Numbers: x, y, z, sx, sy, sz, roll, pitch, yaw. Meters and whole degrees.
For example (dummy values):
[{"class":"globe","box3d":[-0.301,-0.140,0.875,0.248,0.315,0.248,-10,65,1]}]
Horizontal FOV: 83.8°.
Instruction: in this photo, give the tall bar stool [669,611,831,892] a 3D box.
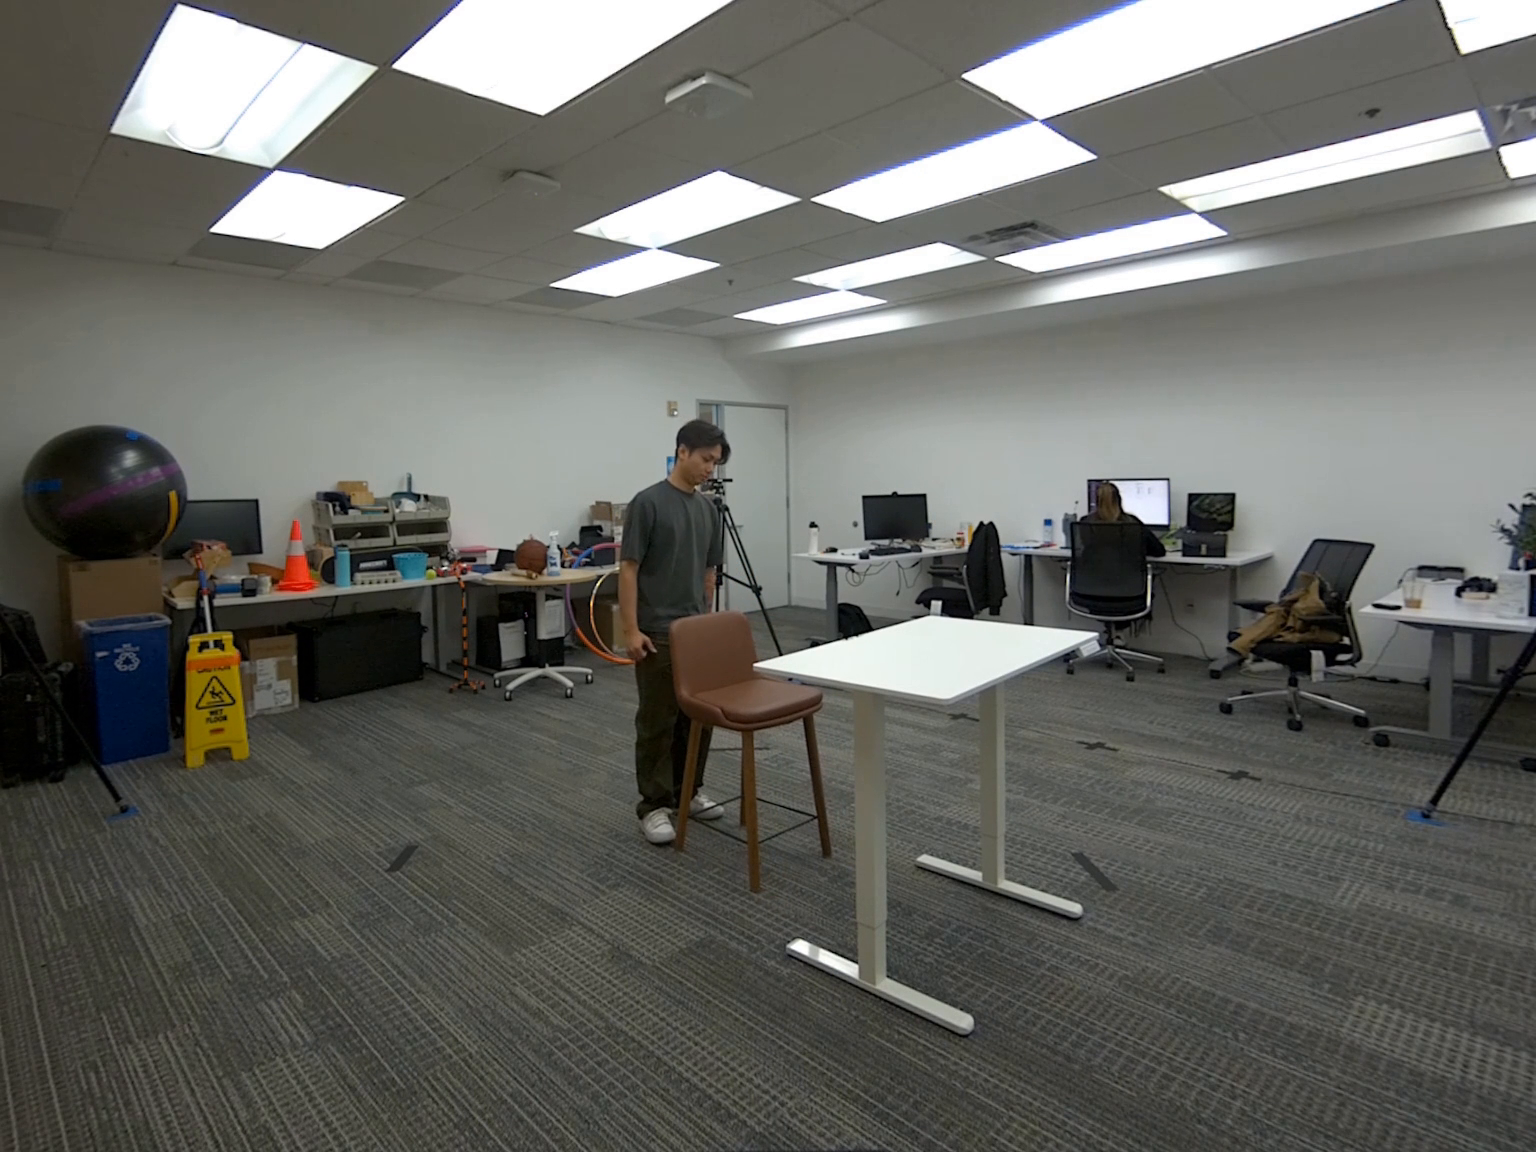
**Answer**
[{"class":"tall bar stool","box3d":[-0.076,0.600,3.166,0.444,0.888,0.481,-4,3,-45]}]
